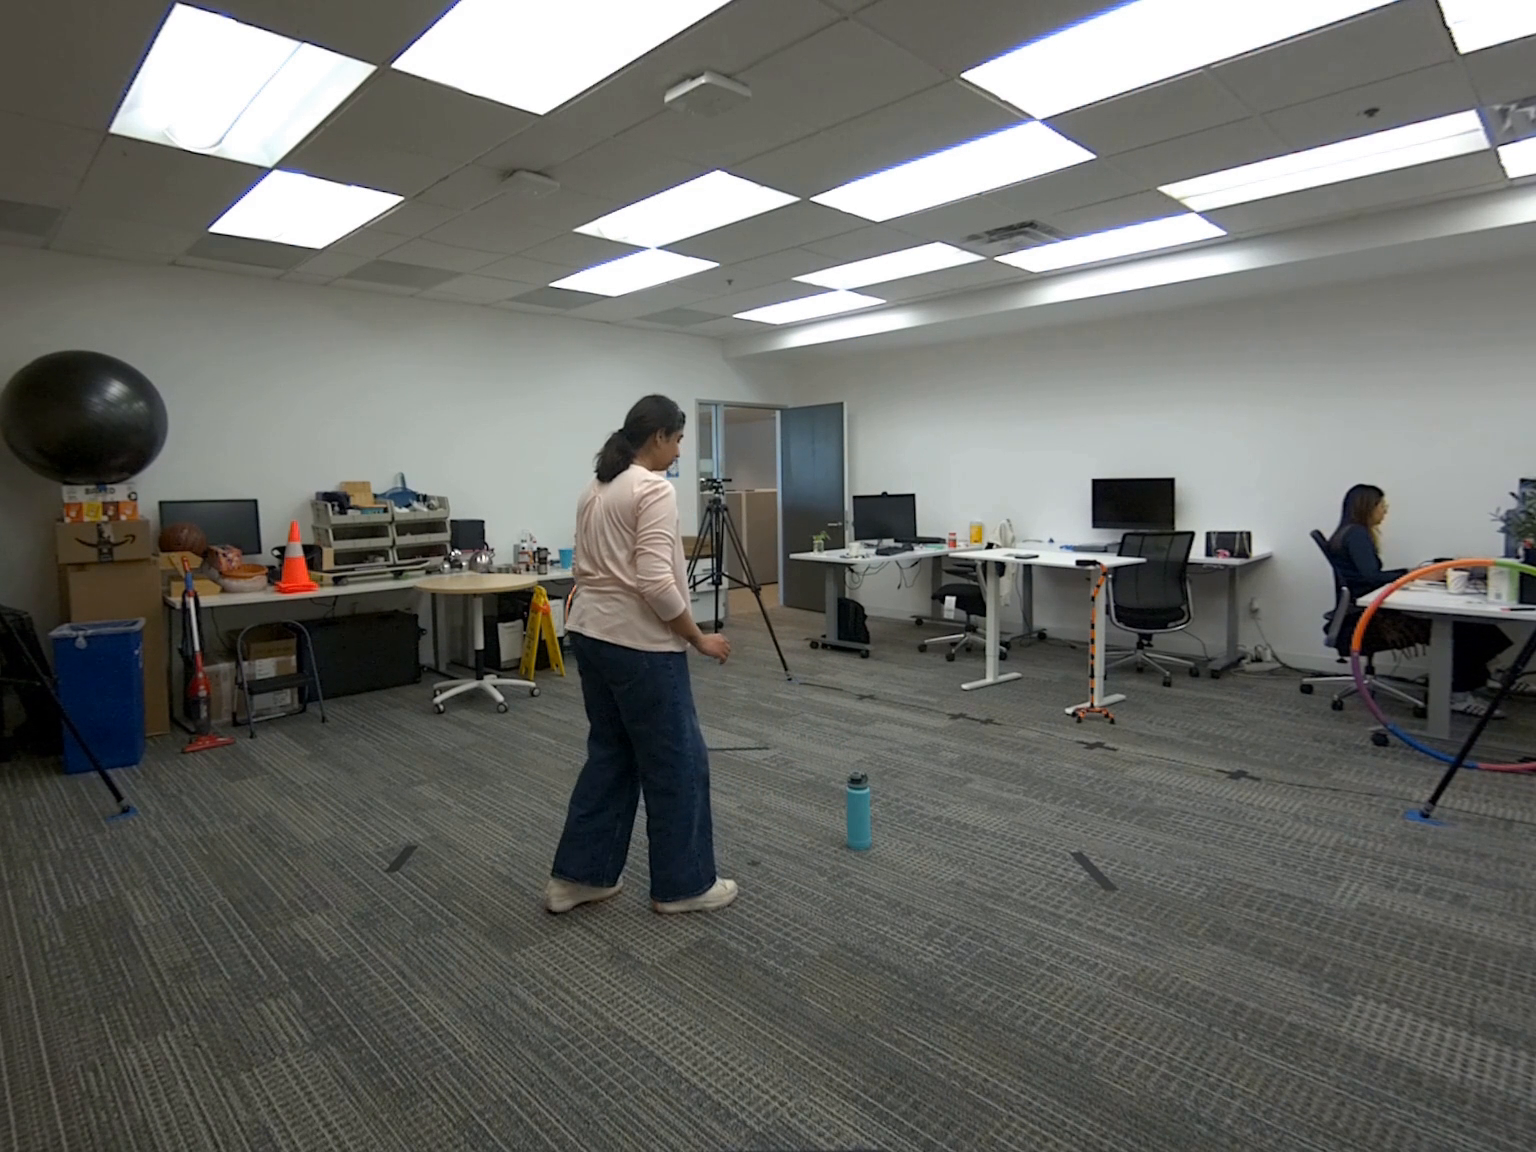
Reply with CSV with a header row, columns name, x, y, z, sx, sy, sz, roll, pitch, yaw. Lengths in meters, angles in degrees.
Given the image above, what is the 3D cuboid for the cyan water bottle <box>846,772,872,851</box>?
name,x,y,z,sx,sy,sz,roll,pitch,yaw
cyan water bottle,0.349,0.884,3.241,0.092,0.282,0.093,-1,4,-2
